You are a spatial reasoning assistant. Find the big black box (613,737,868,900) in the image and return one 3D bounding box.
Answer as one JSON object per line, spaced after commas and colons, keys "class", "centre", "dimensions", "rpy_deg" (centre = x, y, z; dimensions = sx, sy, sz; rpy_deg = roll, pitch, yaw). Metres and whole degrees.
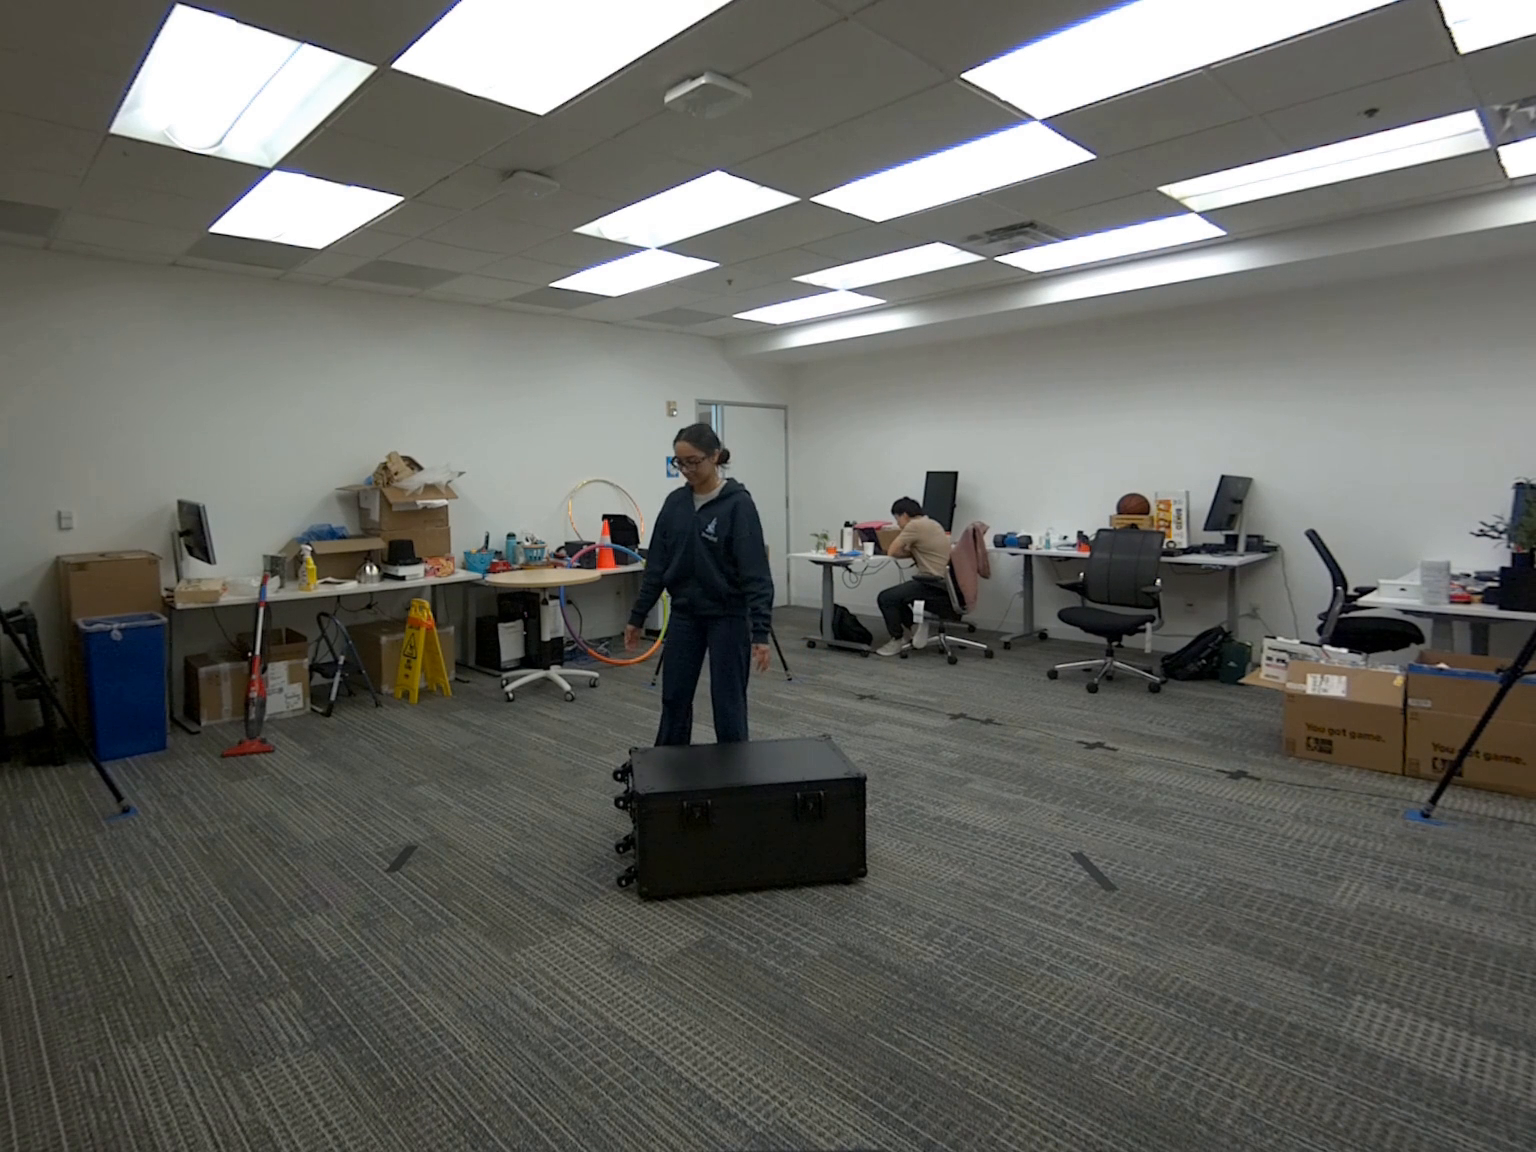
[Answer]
{"class": "big black box", "centre": [-0.125, 0.856, 3.095], "dimensions": [0.854, 0.395, 0.528], "rpy_deg": [-2, 5, -10]}
